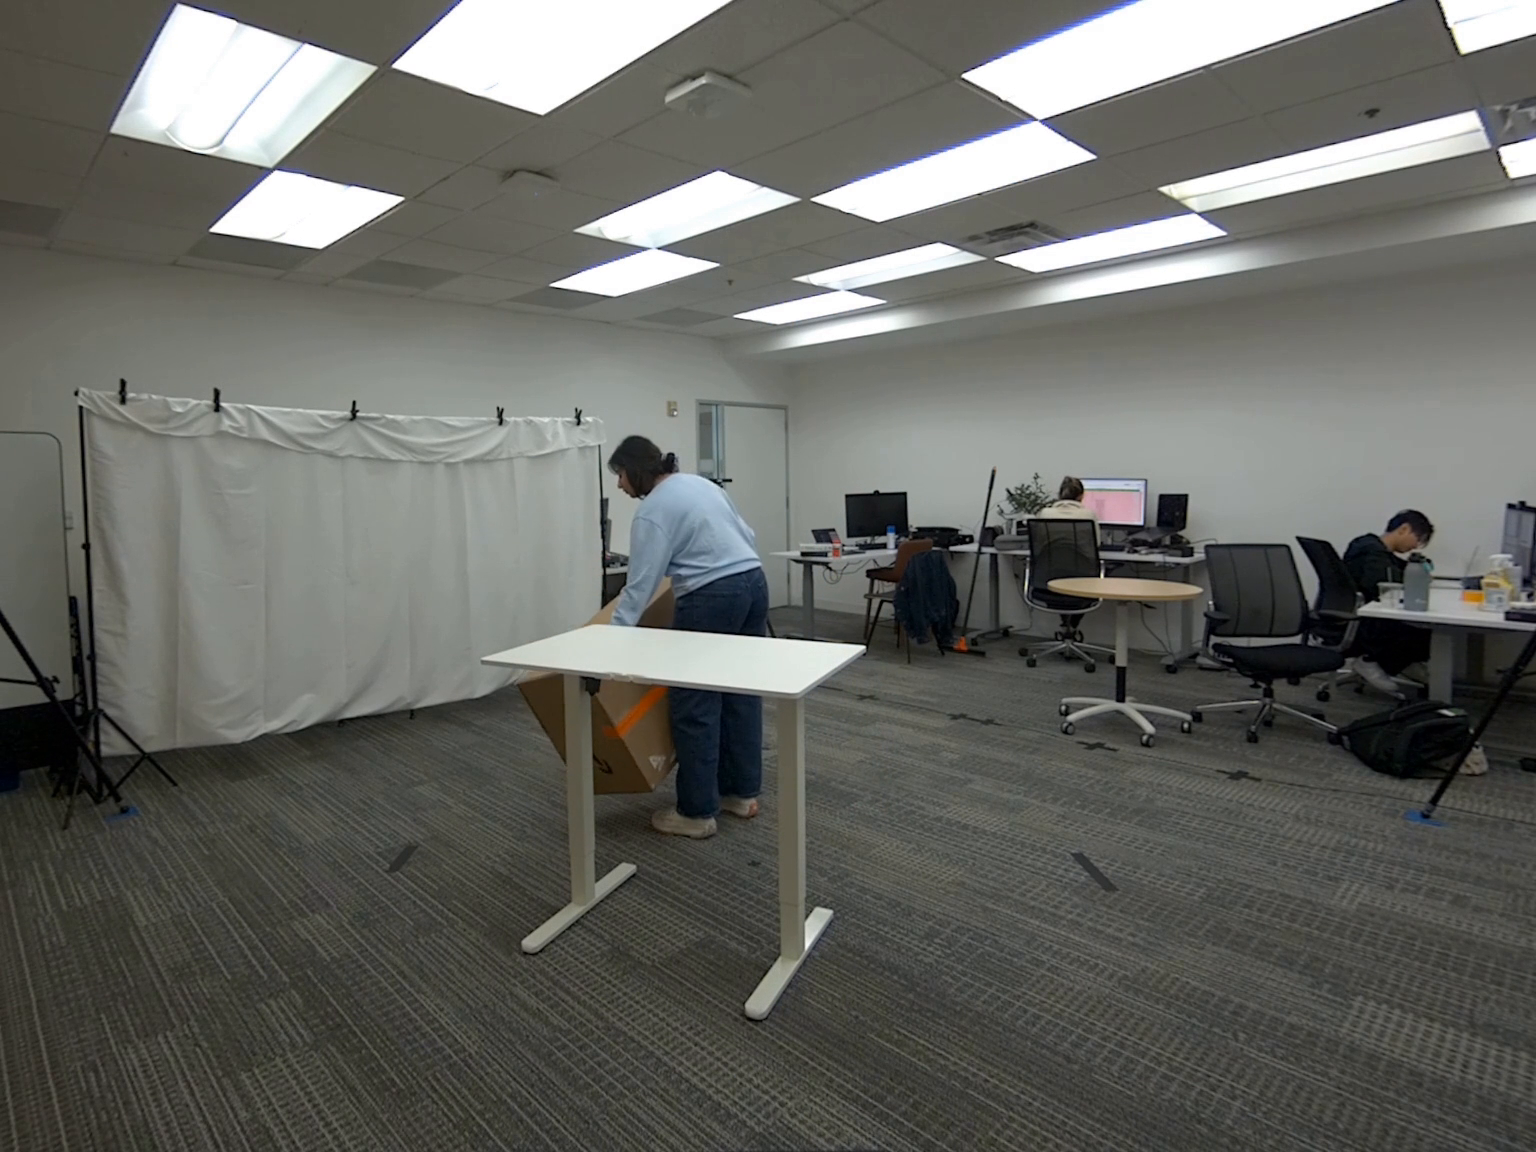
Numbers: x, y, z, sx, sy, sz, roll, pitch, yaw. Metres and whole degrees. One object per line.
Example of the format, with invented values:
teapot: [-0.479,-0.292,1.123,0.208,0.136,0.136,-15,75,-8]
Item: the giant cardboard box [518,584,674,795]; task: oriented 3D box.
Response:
giant cardboard box: [-0.503,0.384,3.750,0.435,0.567,1.024,-16,20,38]
